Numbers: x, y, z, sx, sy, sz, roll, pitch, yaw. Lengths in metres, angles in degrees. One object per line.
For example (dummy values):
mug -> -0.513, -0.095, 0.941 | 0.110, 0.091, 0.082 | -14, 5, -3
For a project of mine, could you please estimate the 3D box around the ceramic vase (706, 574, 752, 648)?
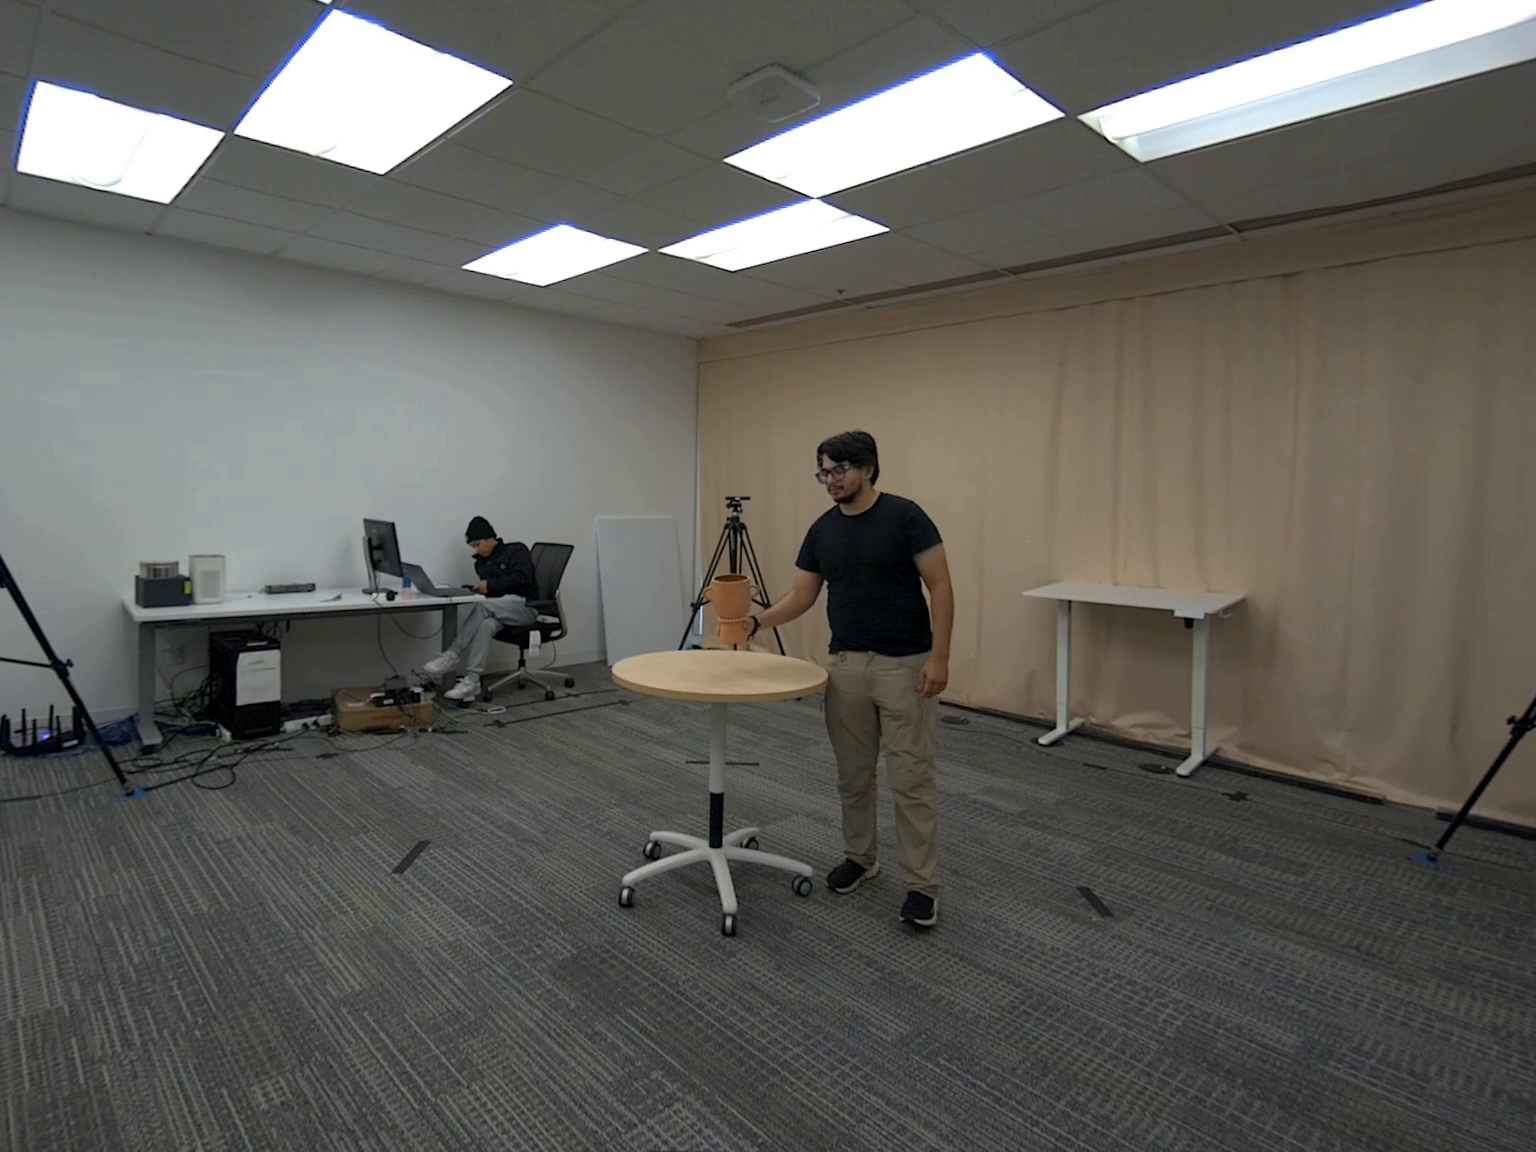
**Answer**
ceramic vase -> -0.125, 0.113, 2.901 | 0.162, 0.218, 0.133 | 5, 13, 30
